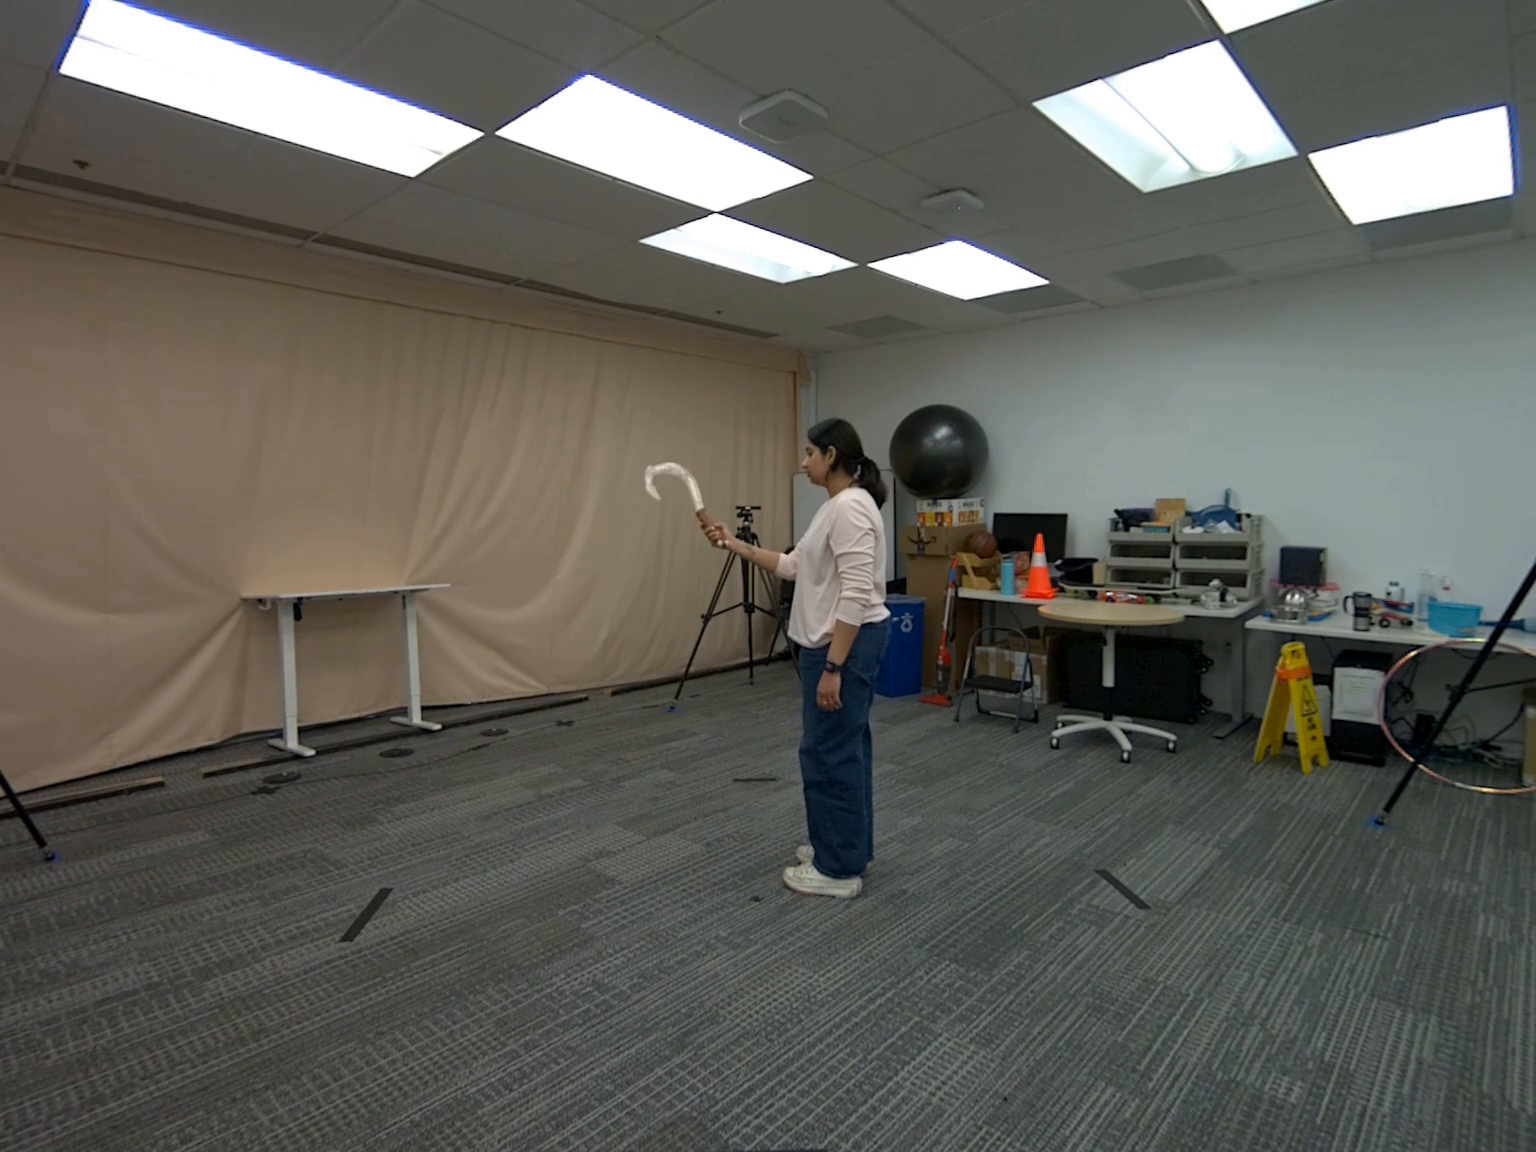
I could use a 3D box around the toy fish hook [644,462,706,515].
[{"bbox_3d":[-0.315,-0.276,3.361,0.220,0.048,0.522,-17,54,-24],"label":"toy fish hook"}]
